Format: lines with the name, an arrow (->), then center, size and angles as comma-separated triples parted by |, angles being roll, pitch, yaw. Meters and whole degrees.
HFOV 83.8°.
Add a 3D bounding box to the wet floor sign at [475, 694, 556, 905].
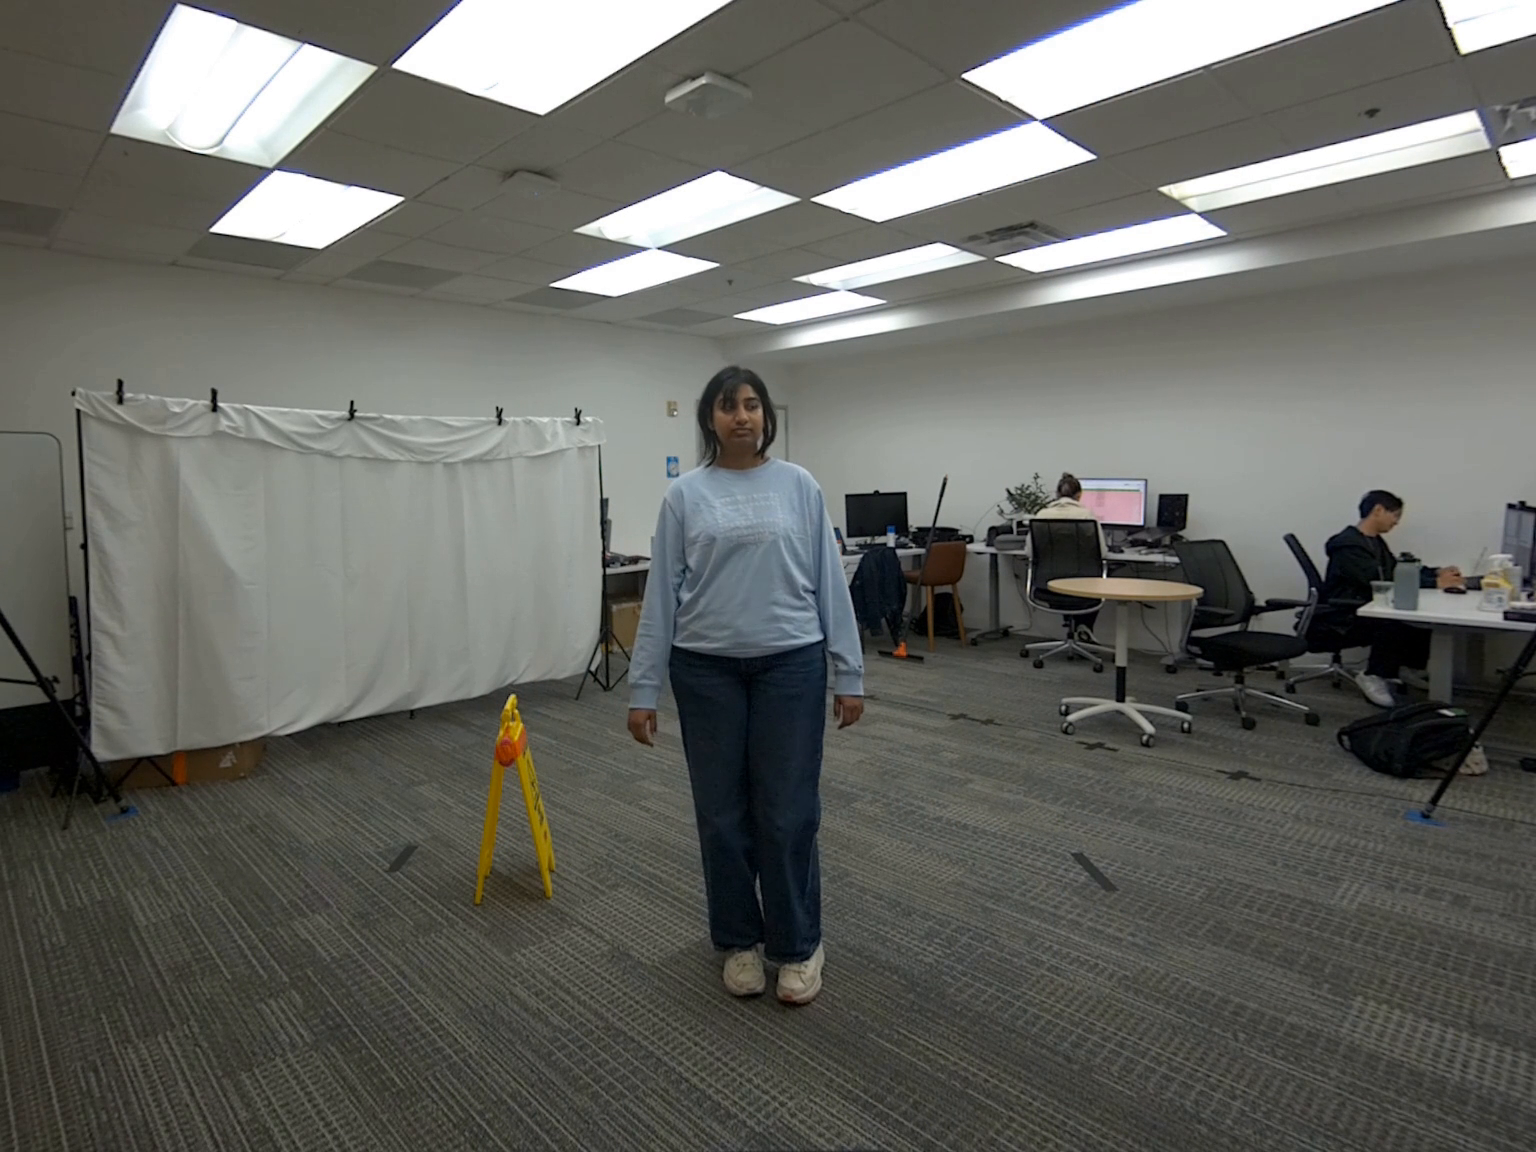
wet floor sign -> -0.884, 0.752, 2.970 | 0.287, 0.643, 0.286 | -1, 5, -9
